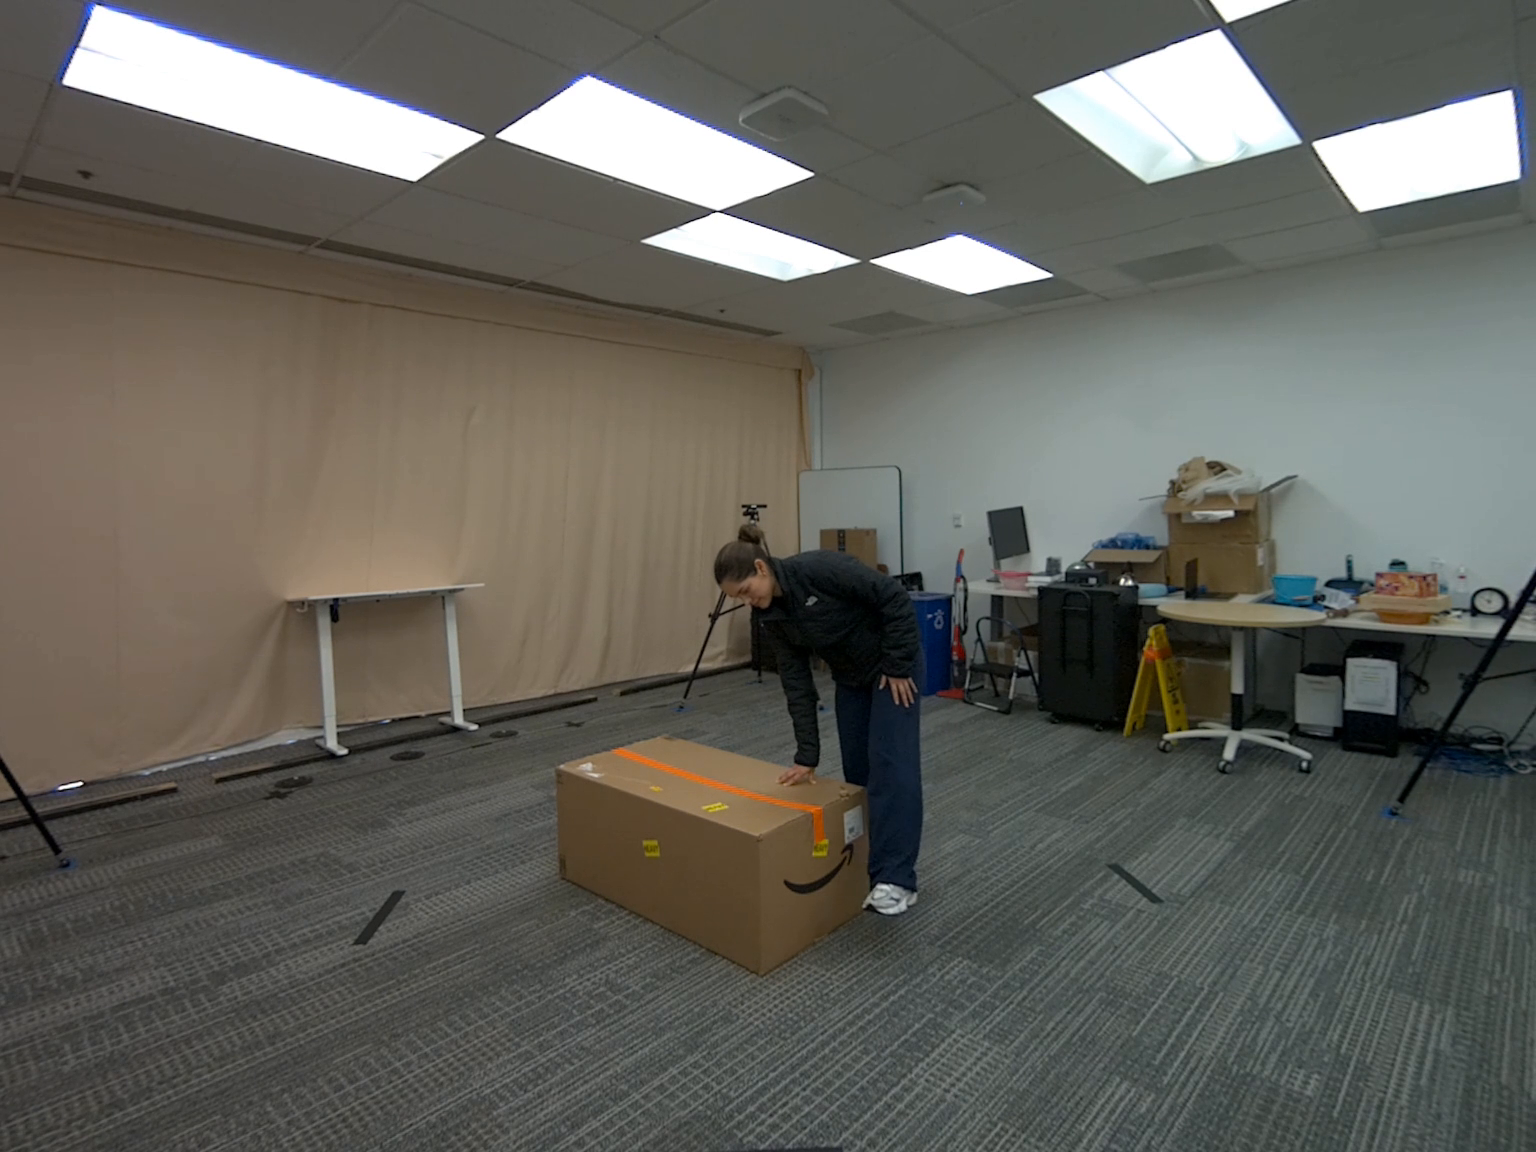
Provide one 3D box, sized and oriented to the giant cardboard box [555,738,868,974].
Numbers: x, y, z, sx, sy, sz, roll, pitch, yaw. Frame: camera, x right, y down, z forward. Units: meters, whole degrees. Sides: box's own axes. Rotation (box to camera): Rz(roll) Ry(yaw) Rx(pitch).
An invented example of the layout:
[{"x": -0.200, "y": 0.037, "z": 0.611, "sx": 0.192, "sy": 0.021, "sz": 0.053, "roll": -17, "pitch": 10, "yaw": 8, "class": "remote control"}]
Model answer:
[{"x": -0.213, "y": 0.933, "z": 3.030, "sx": 1.061, "sy": 0.446, "sz": 0.566, "roll": 2, "pitch": 4, "yaw": 42, "class": "giant cardboard box"}]
